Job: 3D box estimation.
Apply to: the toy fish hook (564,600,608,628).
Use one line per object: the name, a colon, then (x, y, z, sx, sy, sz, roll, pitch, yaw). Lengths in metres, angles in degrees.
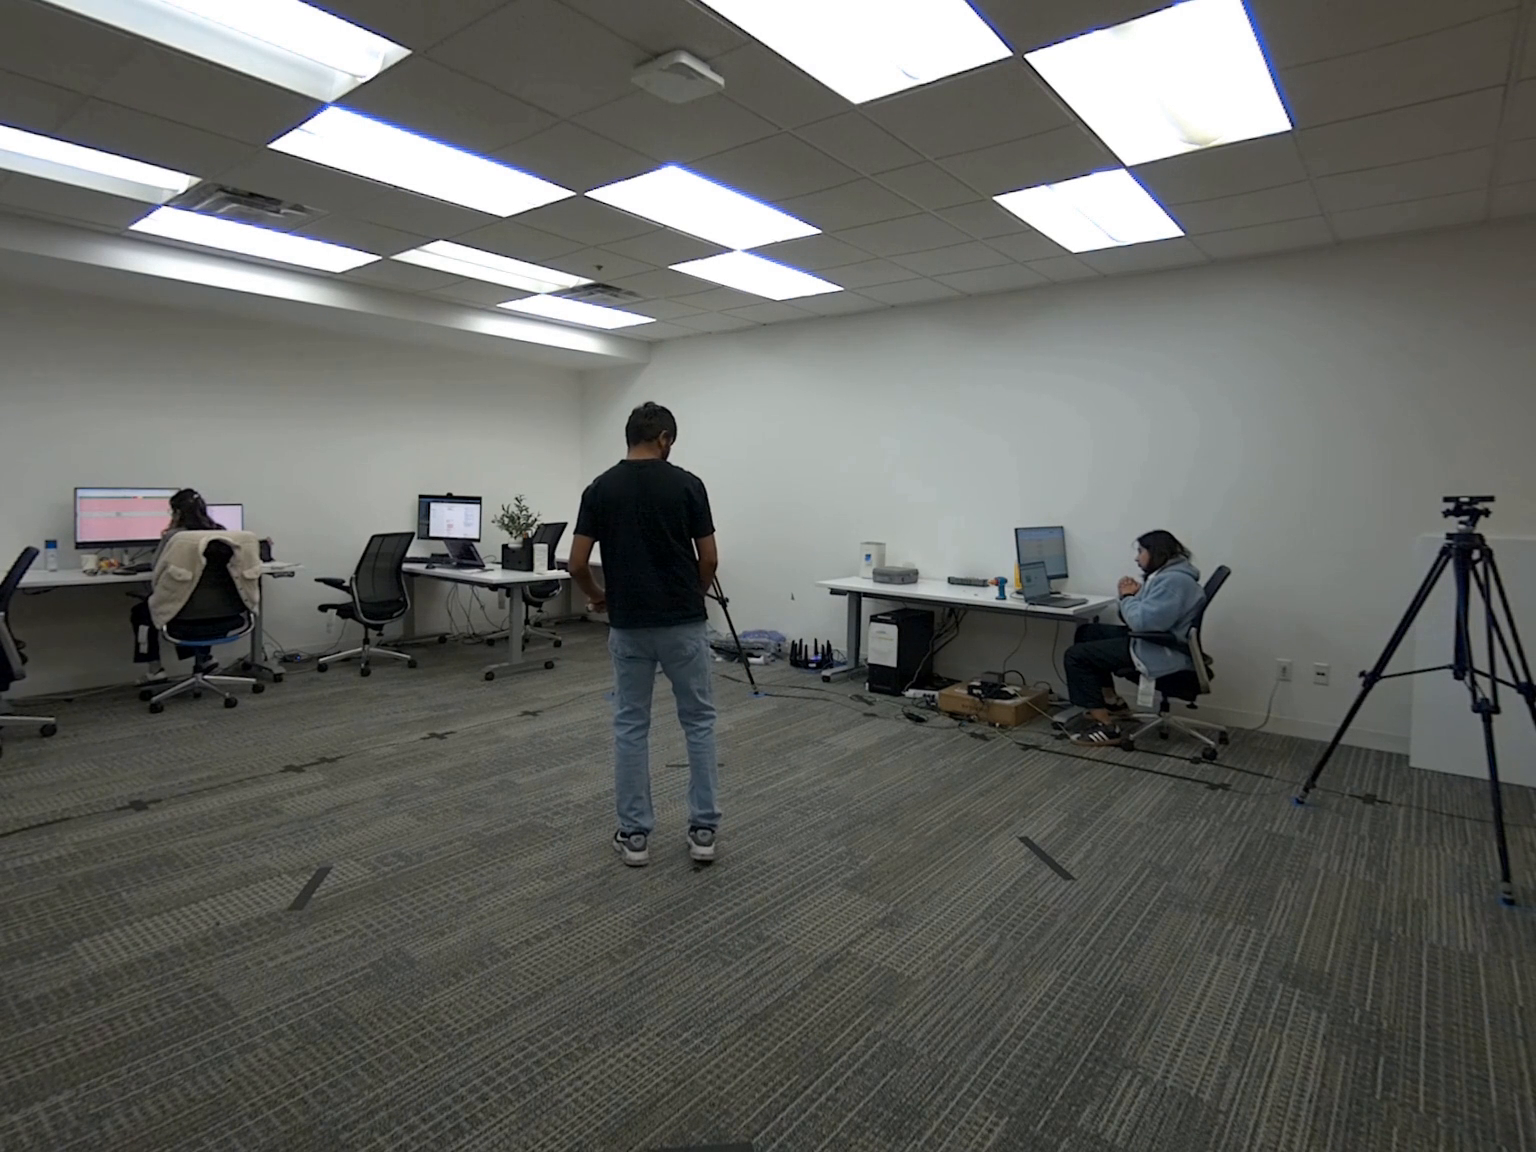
toy fish hook: (-0.600, 0.106, 3.578, 0.227, 0.049, 0.494, -29, -10, 41)
